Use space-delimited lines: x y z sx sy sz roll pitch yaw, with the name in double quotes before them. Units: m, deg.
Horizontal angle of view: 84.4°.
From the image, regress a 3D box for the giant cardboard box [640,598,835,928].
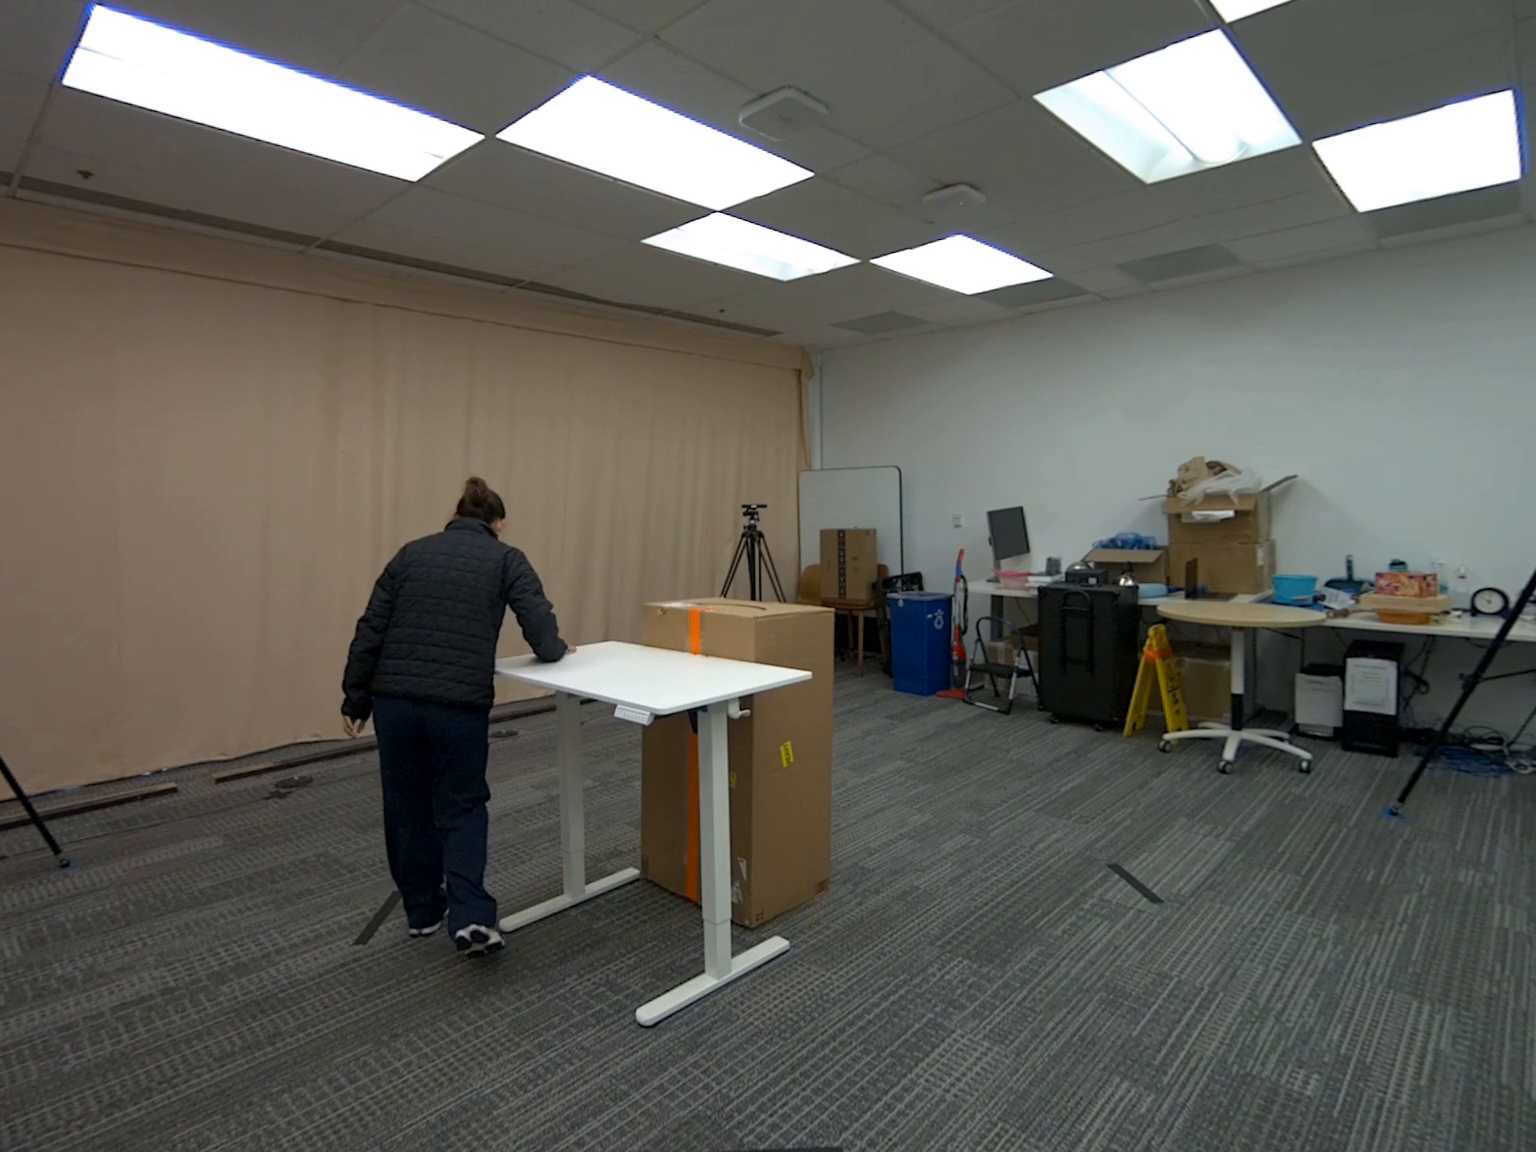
"giant cardboard box" -0.109 0.617 3.078 0.433 1.025 0.603 -2 3 -45
